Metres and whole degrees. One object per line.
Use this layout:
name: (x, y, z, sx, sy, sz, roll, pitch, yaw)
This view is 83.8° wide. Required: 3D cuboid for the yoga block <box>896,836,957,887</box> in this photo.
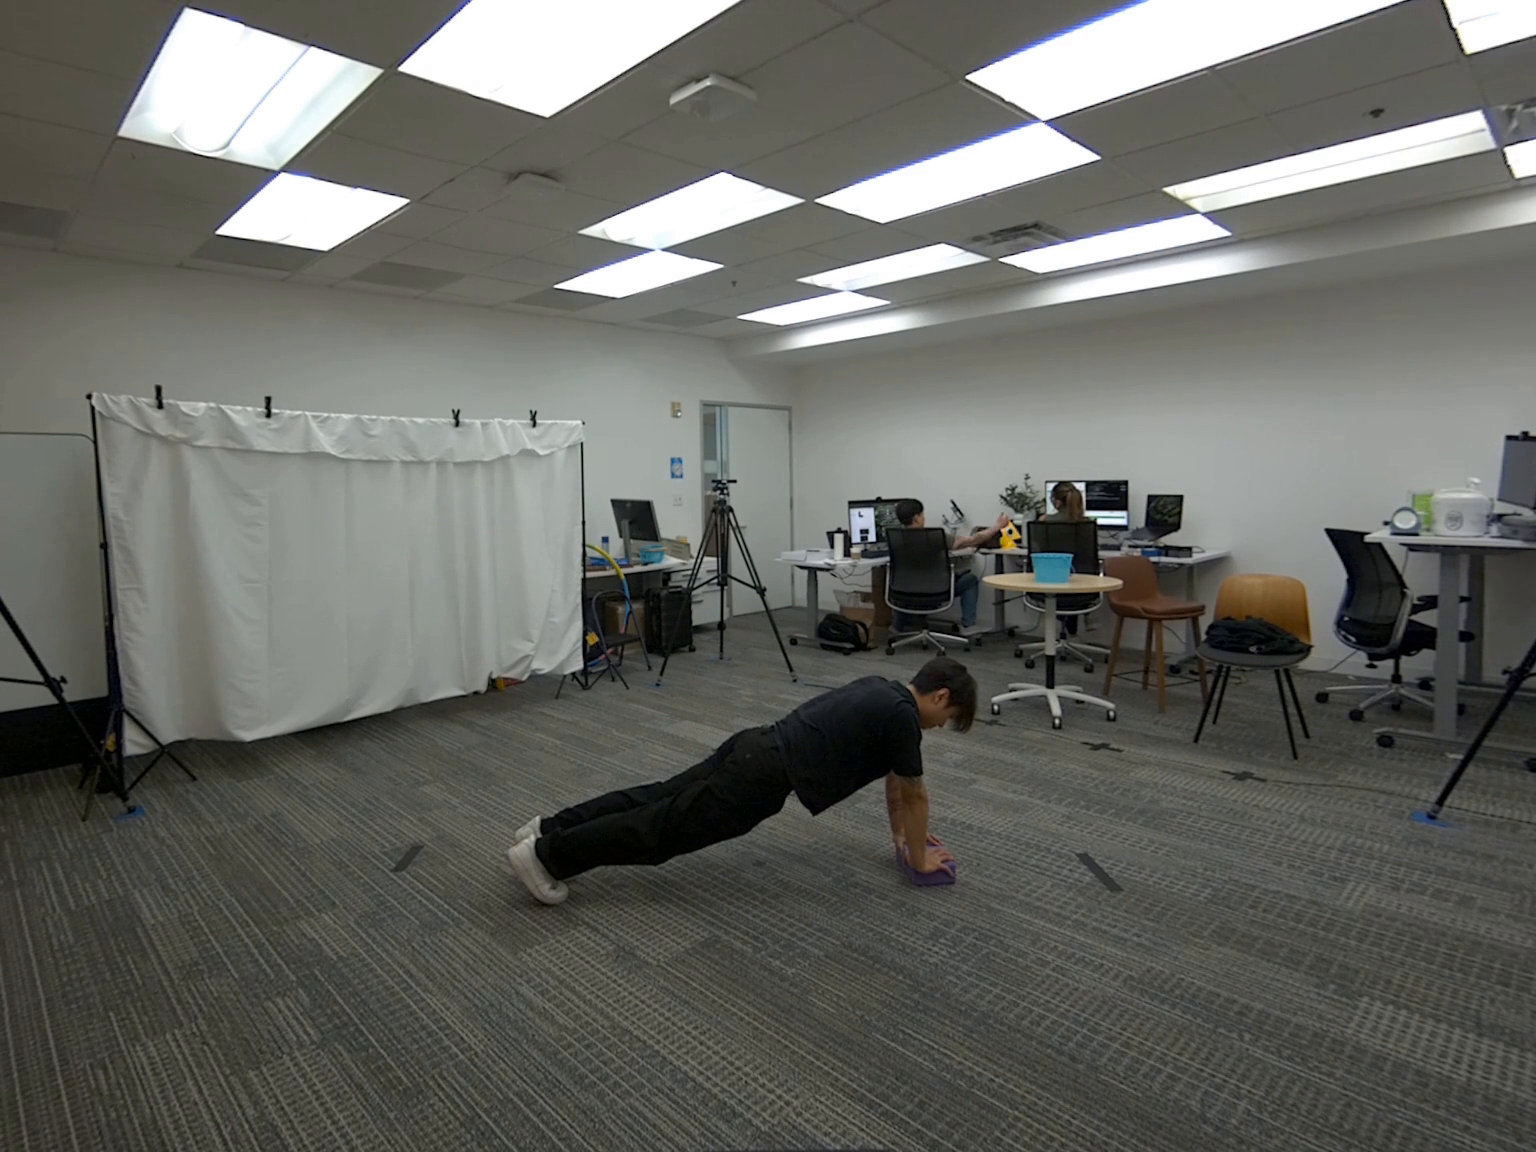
yoga block: (0.553, 1.001, 3.023, 0.148, 0.076, 0.231, -1, 4, -7)
